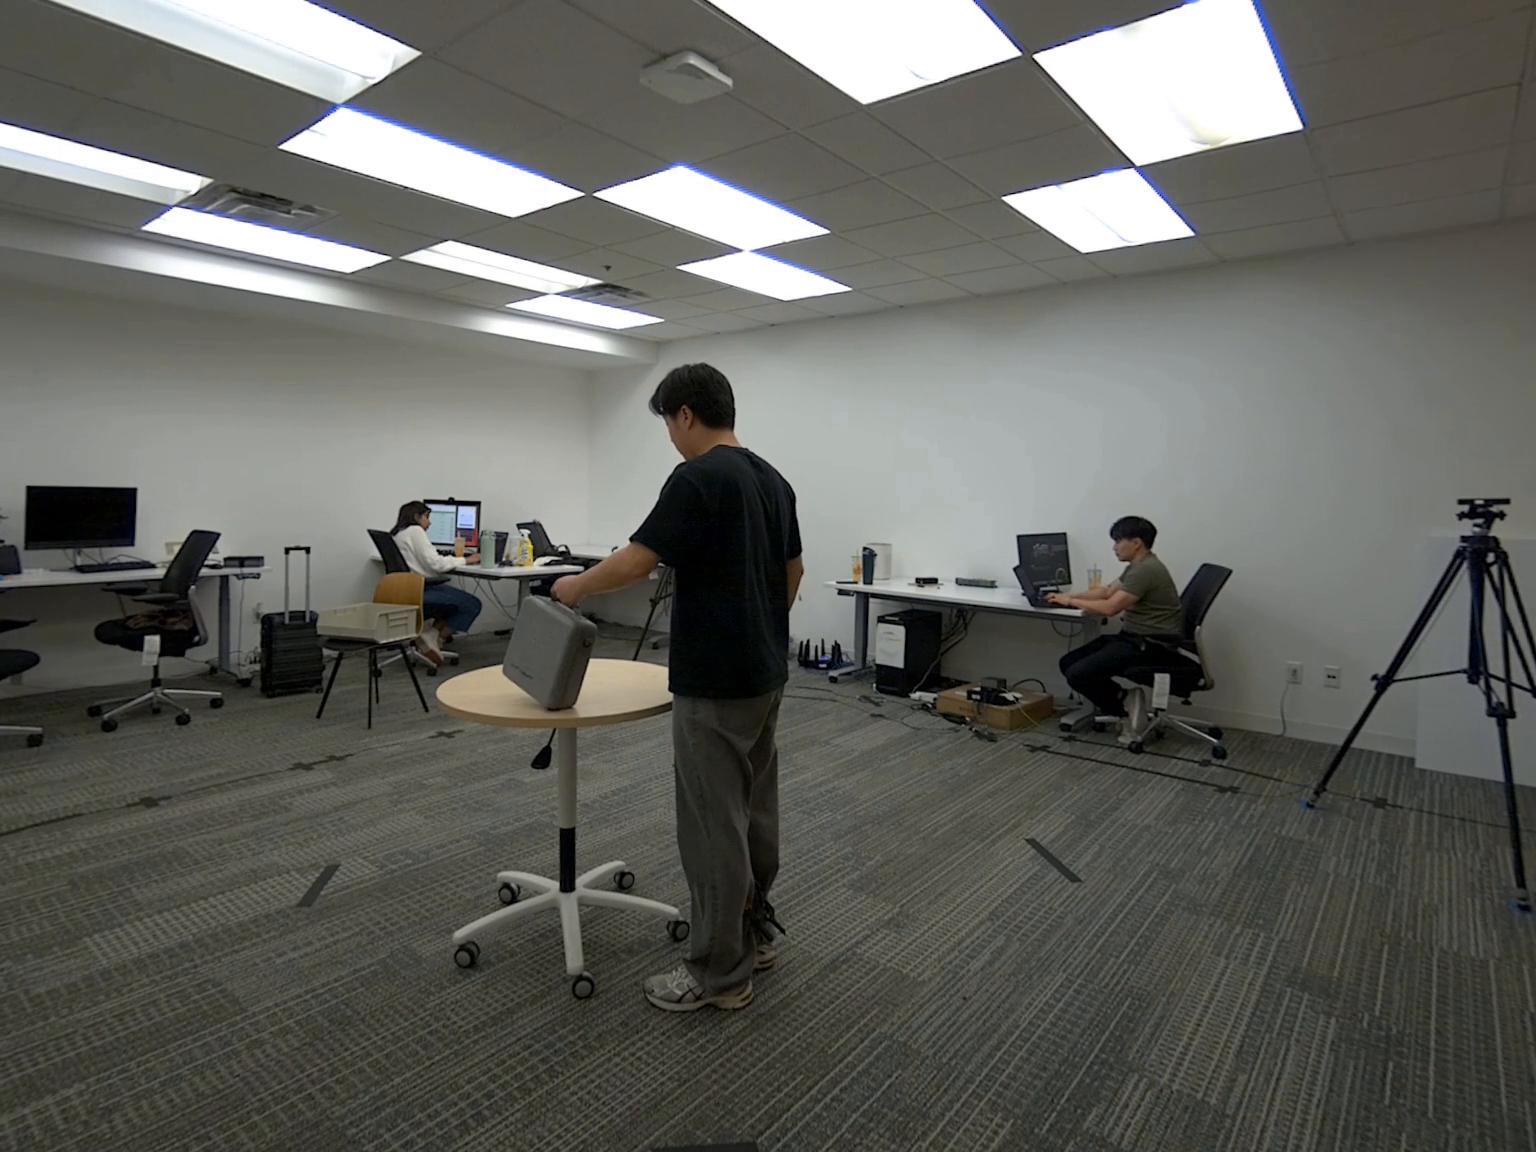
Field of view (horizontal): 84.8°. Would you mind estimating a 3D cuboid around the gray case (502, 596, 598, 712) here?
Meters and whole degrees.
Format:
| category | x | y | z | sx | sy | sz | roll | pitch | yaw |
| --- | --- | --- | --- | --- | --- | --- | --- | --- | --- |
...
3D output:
| category | x | y | z | sx | sy | sz | roll | pitch | yaw |
| --- | --- | --- | --- | --- | --- | --- | --- | --- | --- |
| gray case | -0.617 | 0.192 | 2.372 | 0.274 | 0.286 | 0.099 | 23 | 6 | 39 |
